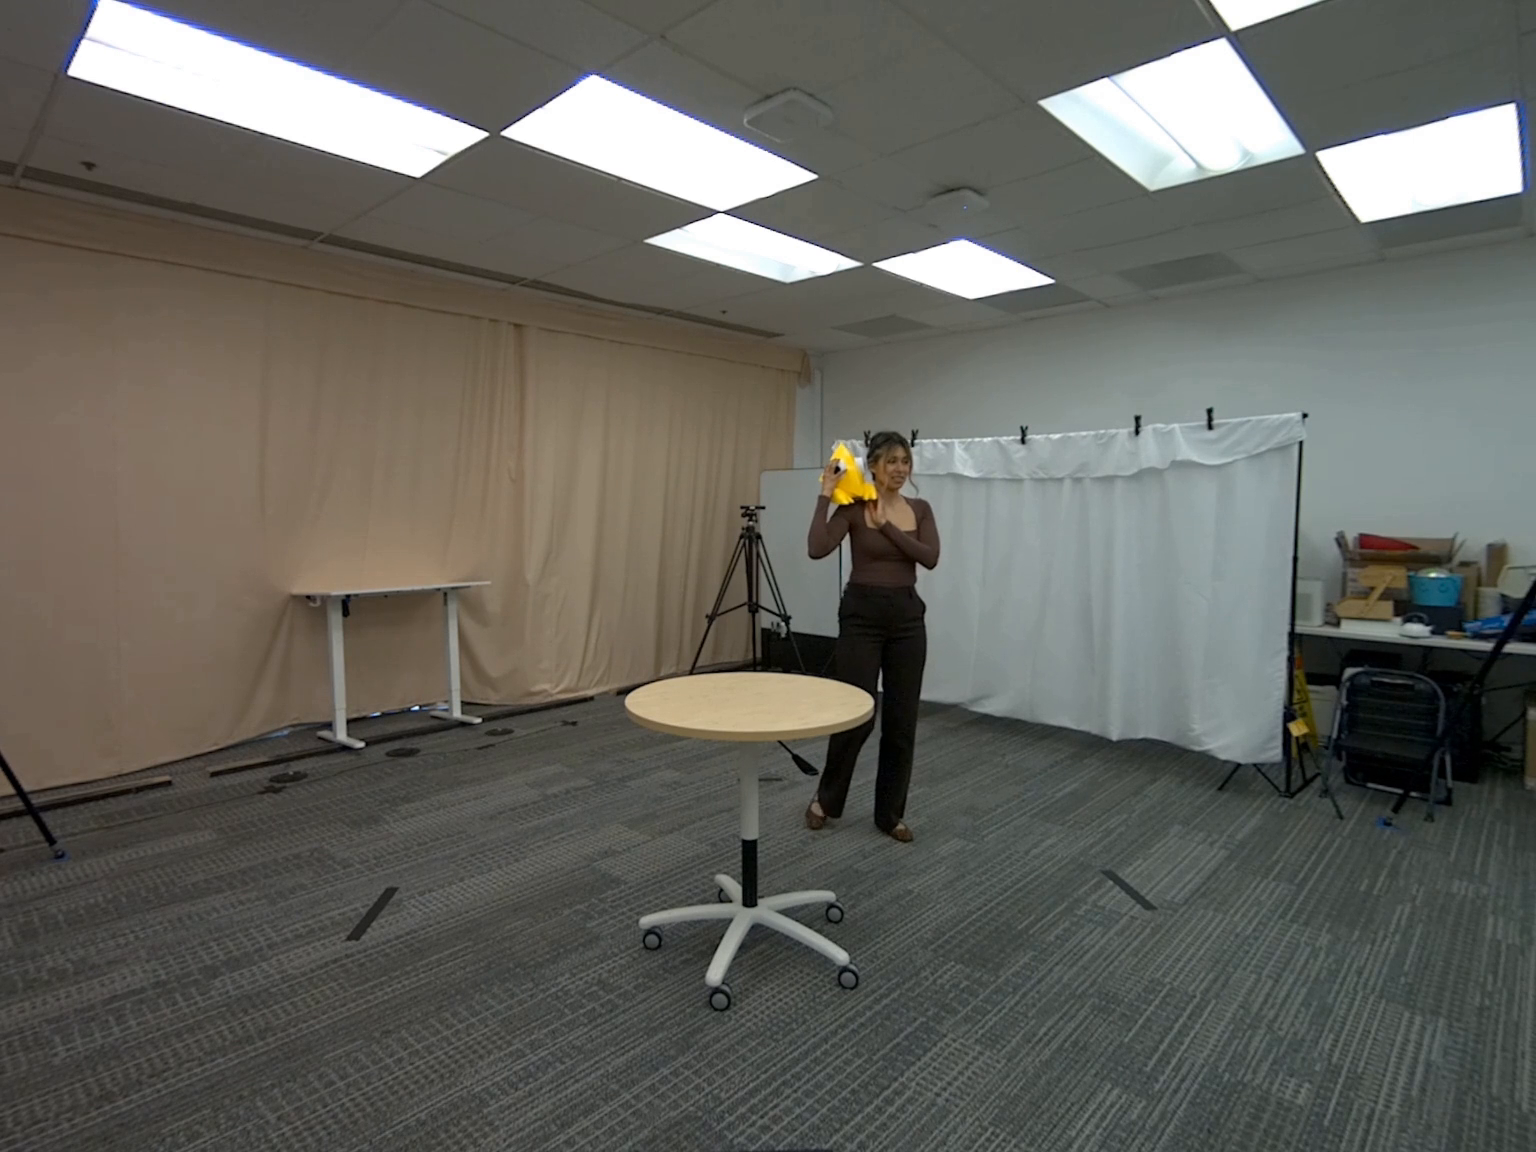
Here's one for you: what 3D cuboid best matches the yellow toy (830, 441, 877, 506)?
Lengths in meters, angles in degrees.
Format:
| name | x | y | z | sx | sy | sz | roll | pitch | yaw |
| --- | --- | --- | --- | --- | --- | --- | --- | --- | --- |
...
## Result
| name | x | y | z | sx | sy | sz | roll | pitch | yaw |
| --- | --- | --- | --- | --- | --- | --- | --- | --- | --- |
| yellow toy | 0.348 | -0.439 | 3.533 | 0.201 | 0.228 | 0.198 | -12 | 16 | -19 |
